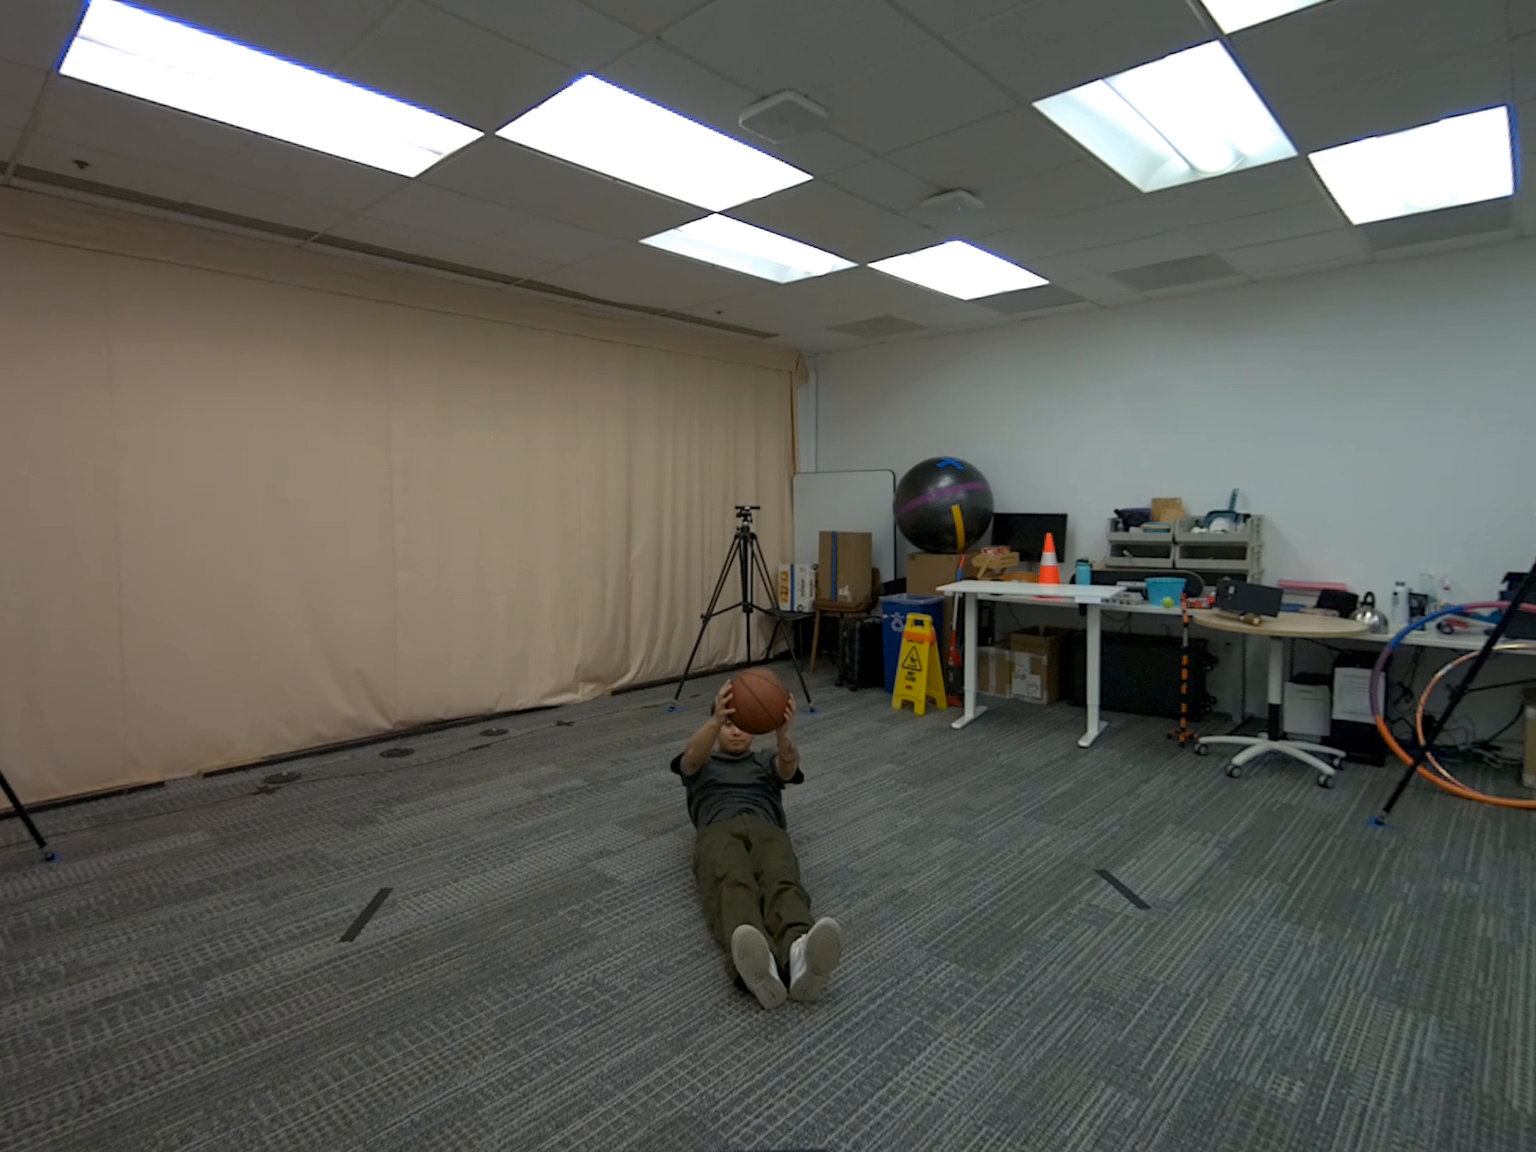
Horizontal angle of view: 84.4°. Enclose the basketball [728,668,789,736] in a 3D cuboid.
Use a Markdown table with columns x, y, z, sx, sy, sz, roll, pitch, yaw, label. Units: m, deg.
| x | y | z | sx | sy | sz | roll | pitch | yaw | label |
| --- | --- | --- | --- | --- | --- | --- | --- | --- | --- |
| -0.039 | 0.458 | 3.060 | 0.236 | 0.235 | 0.237 | 0 | 4 | -2 | basketball |
